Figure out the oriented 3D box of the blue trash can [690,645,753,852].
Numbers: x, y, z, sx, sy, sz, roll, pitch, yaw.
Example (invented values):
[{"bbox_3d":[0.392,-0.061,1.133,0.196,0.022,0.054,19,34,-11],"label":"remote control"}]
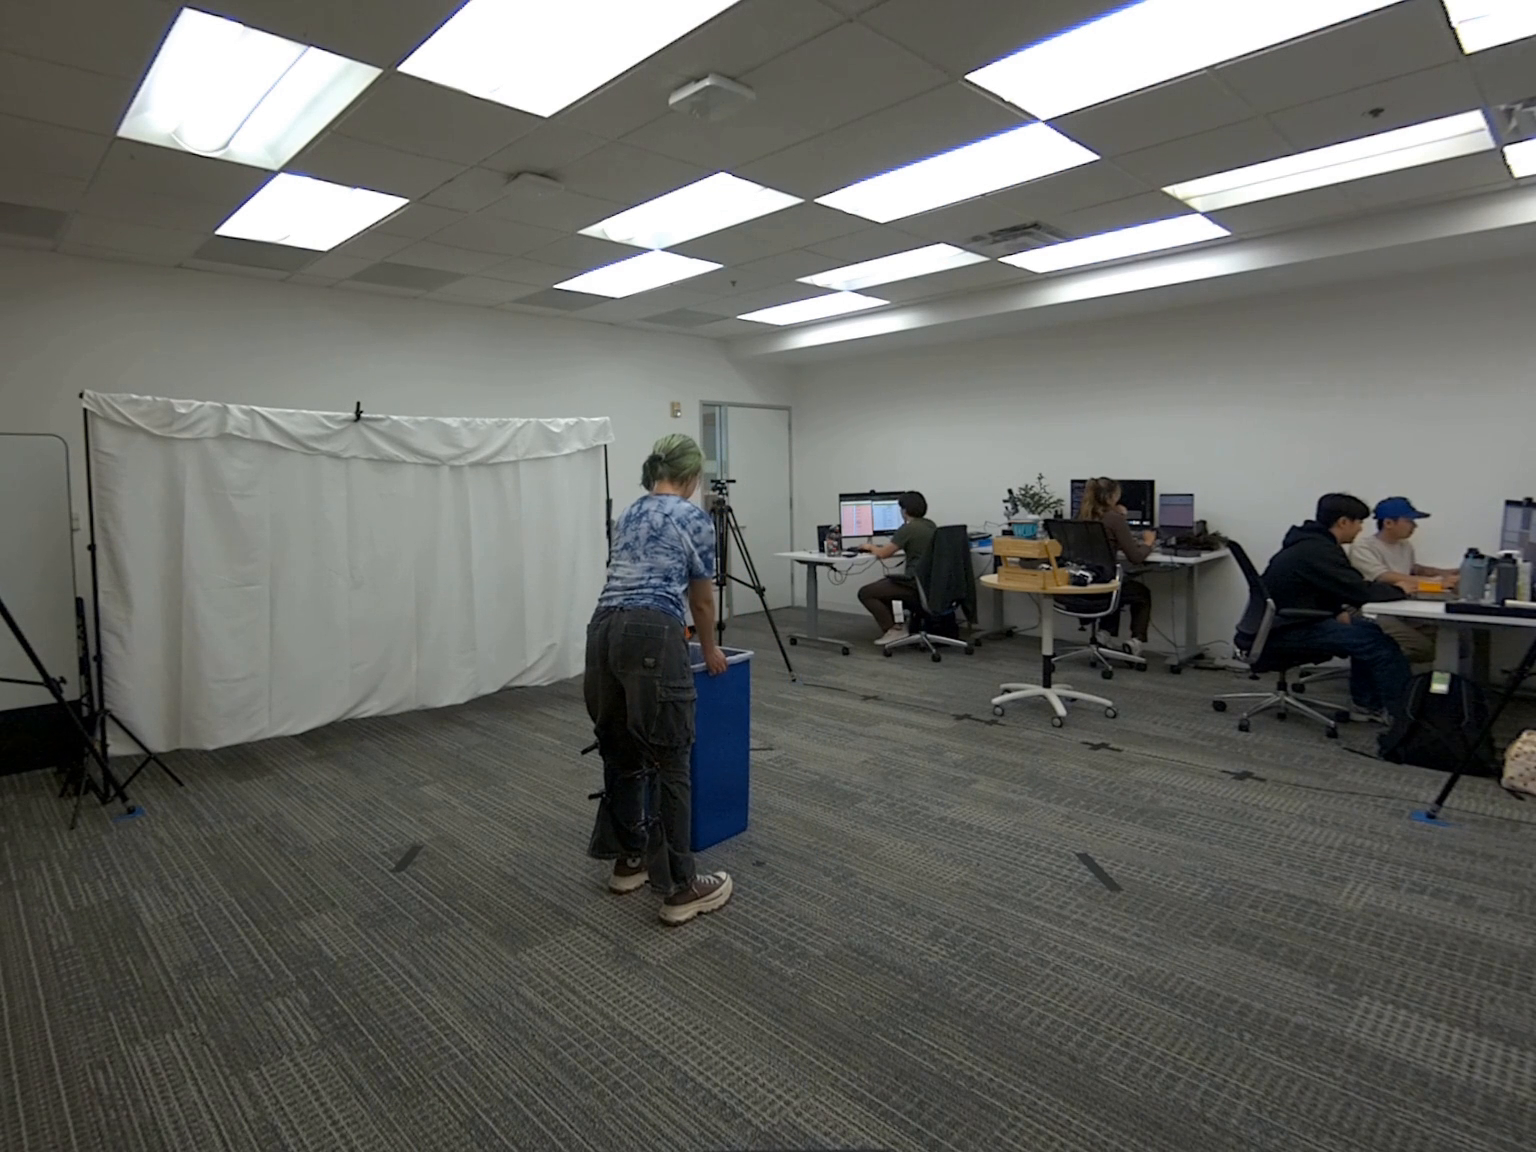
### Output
[{"bbox_3d":[-0.291,0.661,3.391,0.385,0.711,0.368,3,5,41],"label":"blue trash can"}]
